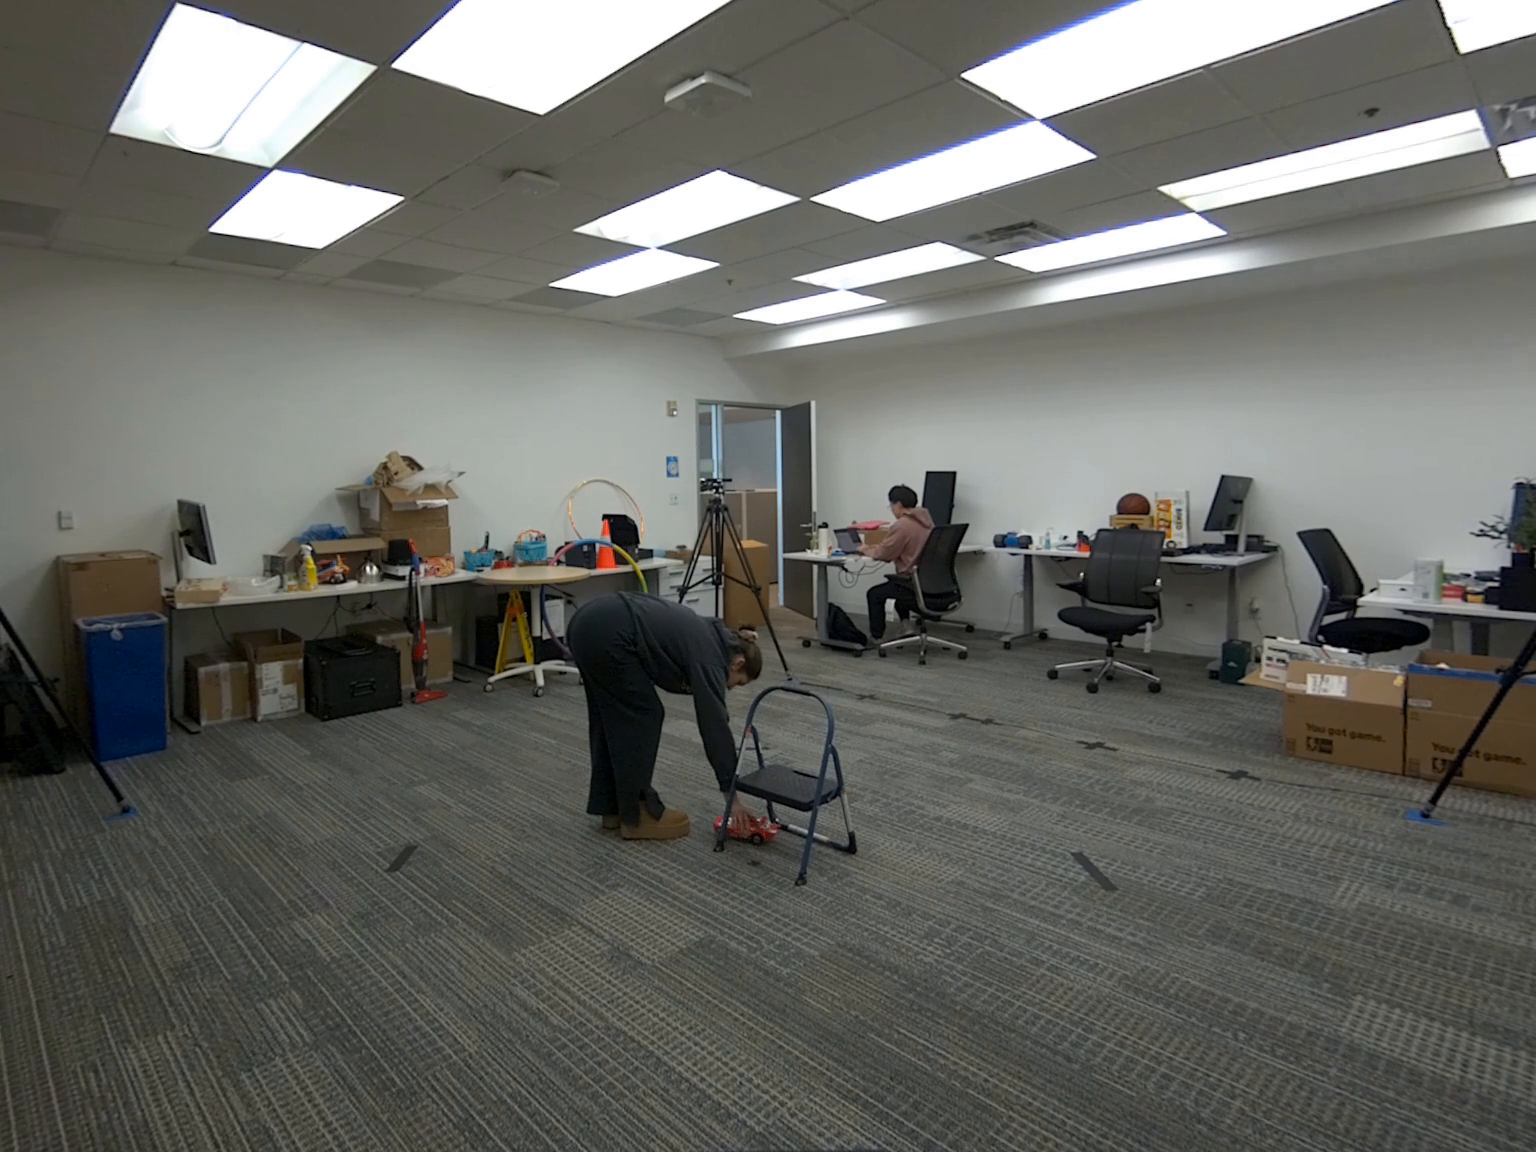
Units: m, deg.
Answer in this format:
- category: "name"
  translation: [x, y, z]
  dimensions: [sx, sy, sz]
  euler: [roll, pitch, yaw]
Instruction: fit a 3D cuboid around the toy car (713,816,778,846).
- category: "toy car"
  translation: [-0.089, 0.976, 3.301]
  dimensions: [0.259, 0.083, 0.129]
  euler: [-1, 7, 18]
